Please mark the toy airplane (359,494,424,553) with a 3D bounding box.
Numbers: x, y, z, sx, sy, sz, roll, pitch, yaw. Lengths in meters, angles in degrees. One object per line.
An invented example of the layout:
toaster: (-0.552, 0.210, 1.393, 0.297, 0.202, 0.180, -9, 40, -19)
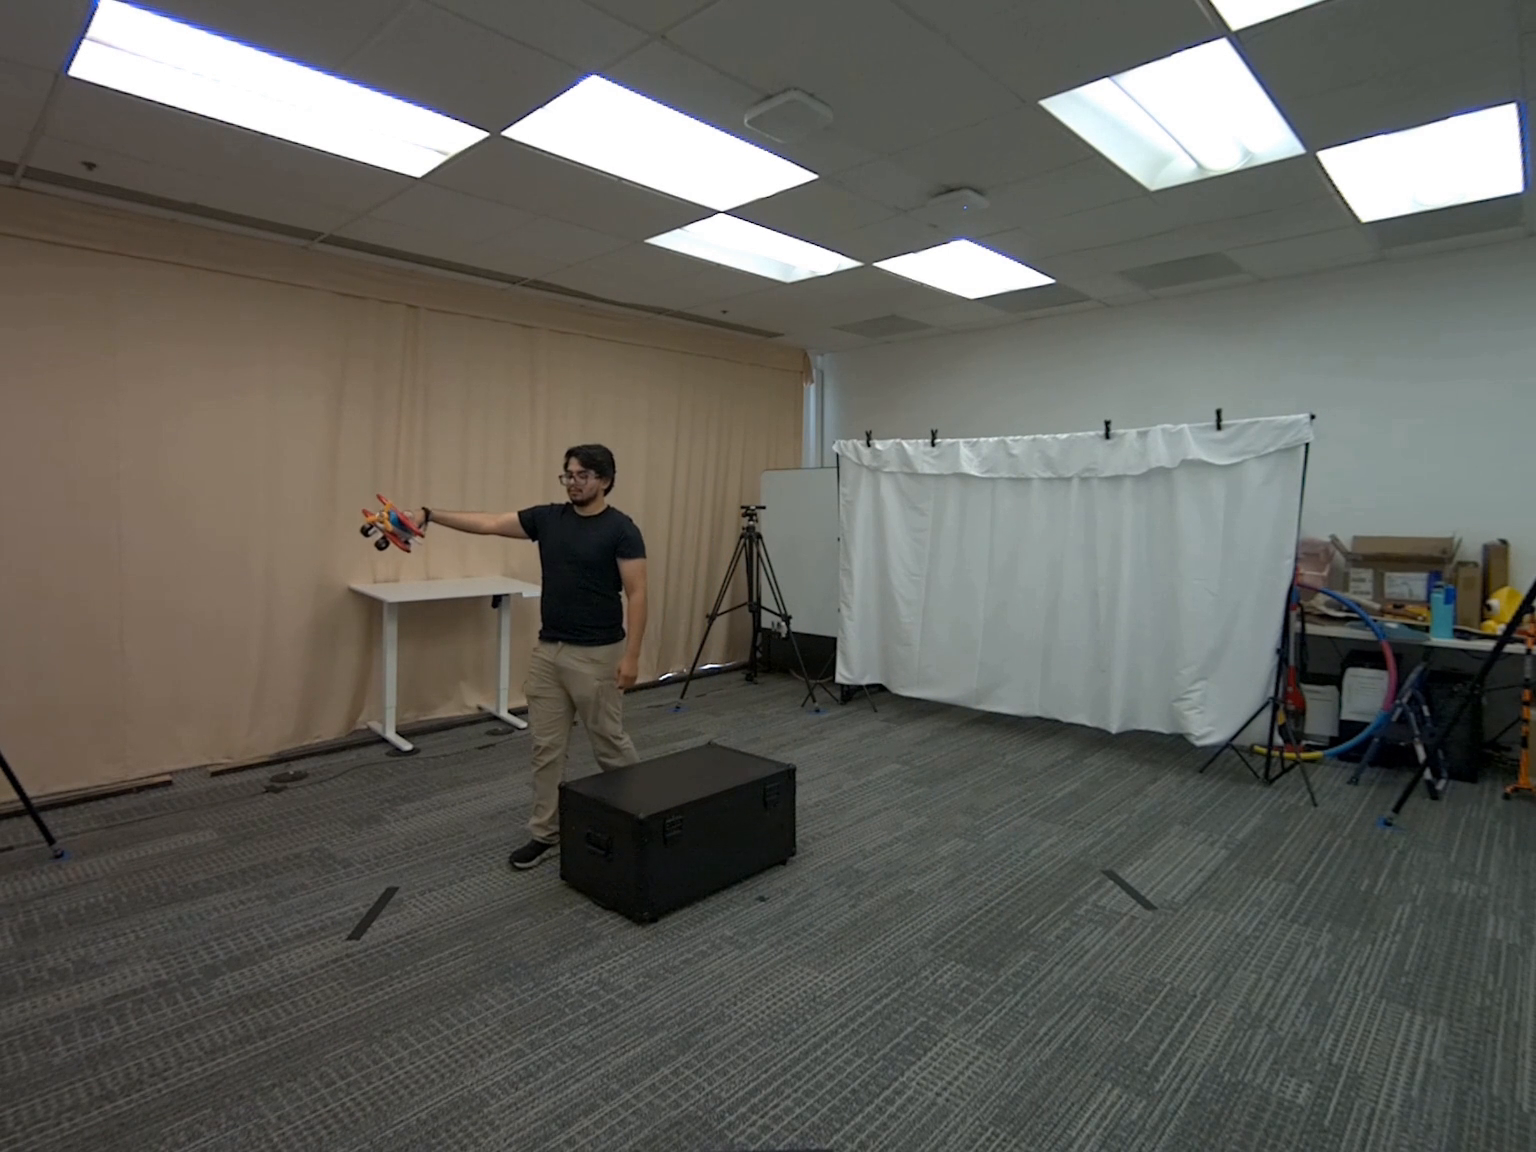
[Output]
toy airplane: (-1.453, -0.197, 3.253, 0.247, 0.156, 0.263, 36, 8, -14)
